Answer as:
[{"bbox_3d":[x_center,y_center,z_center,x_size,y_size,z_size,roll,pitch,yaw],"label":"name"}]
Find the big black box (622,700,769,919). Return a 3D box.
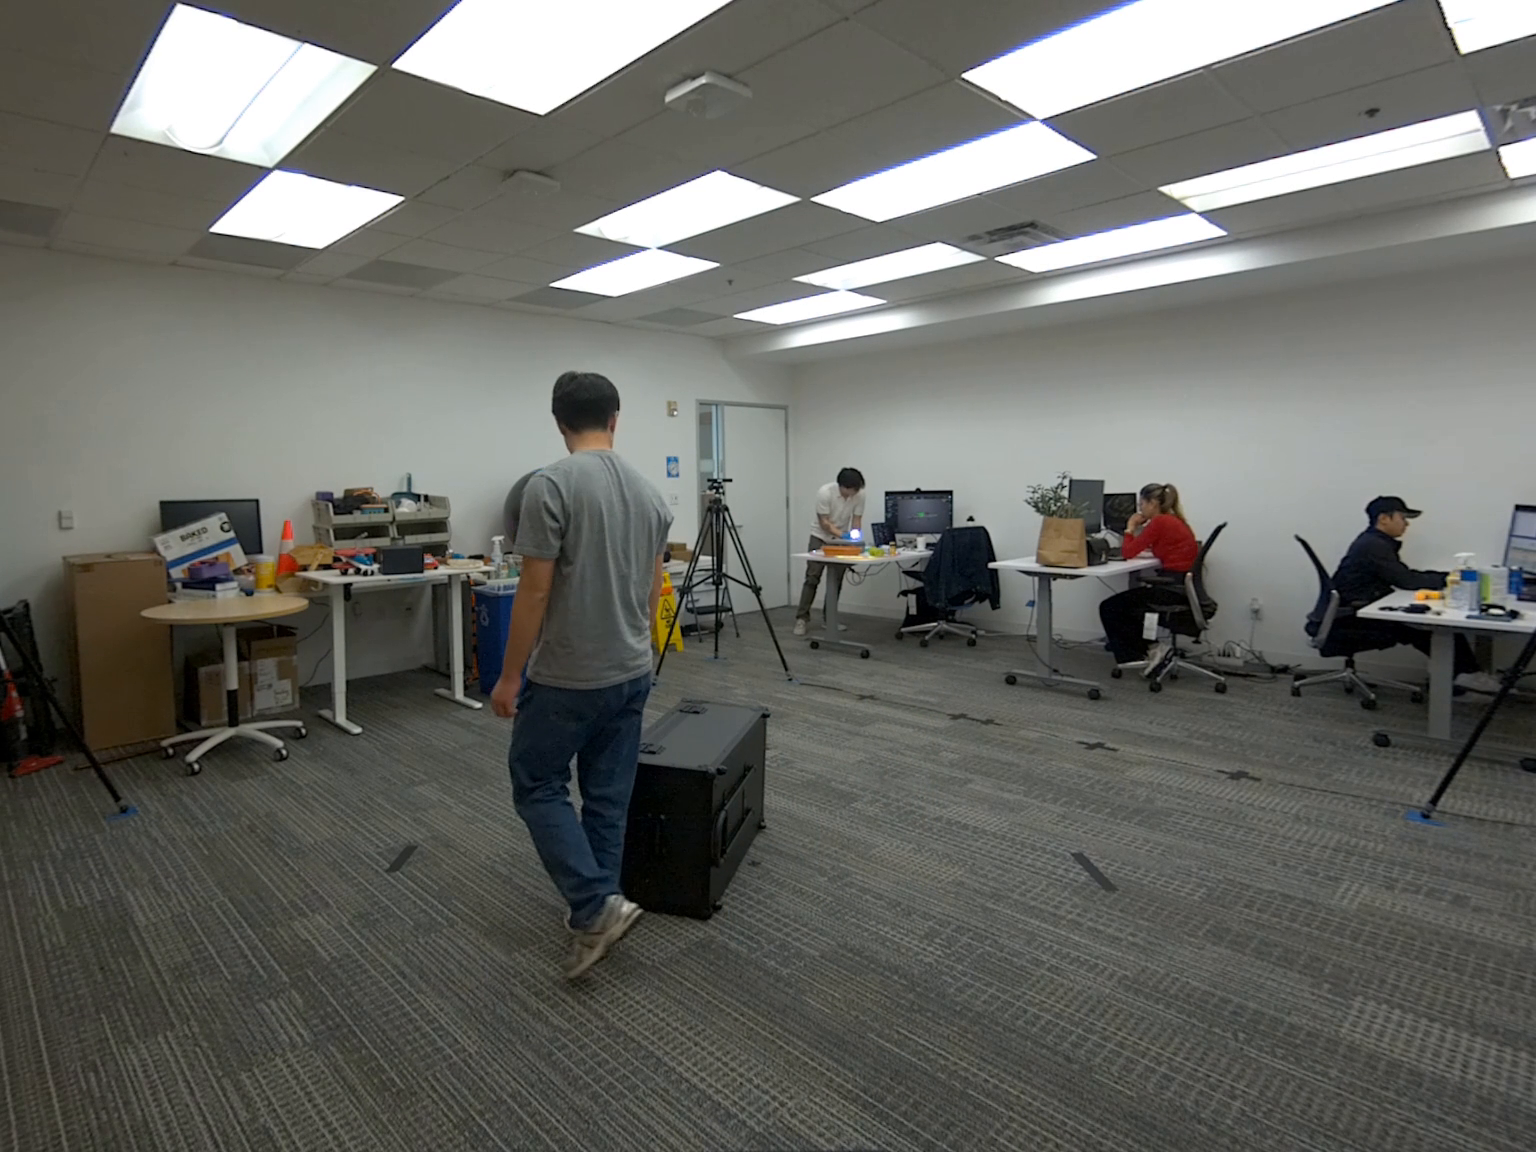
[{"bbox_3d":[-0.240,0.787,3.138,0.402,0.519,0.854,3,7,12],"label":"big black box"}]
